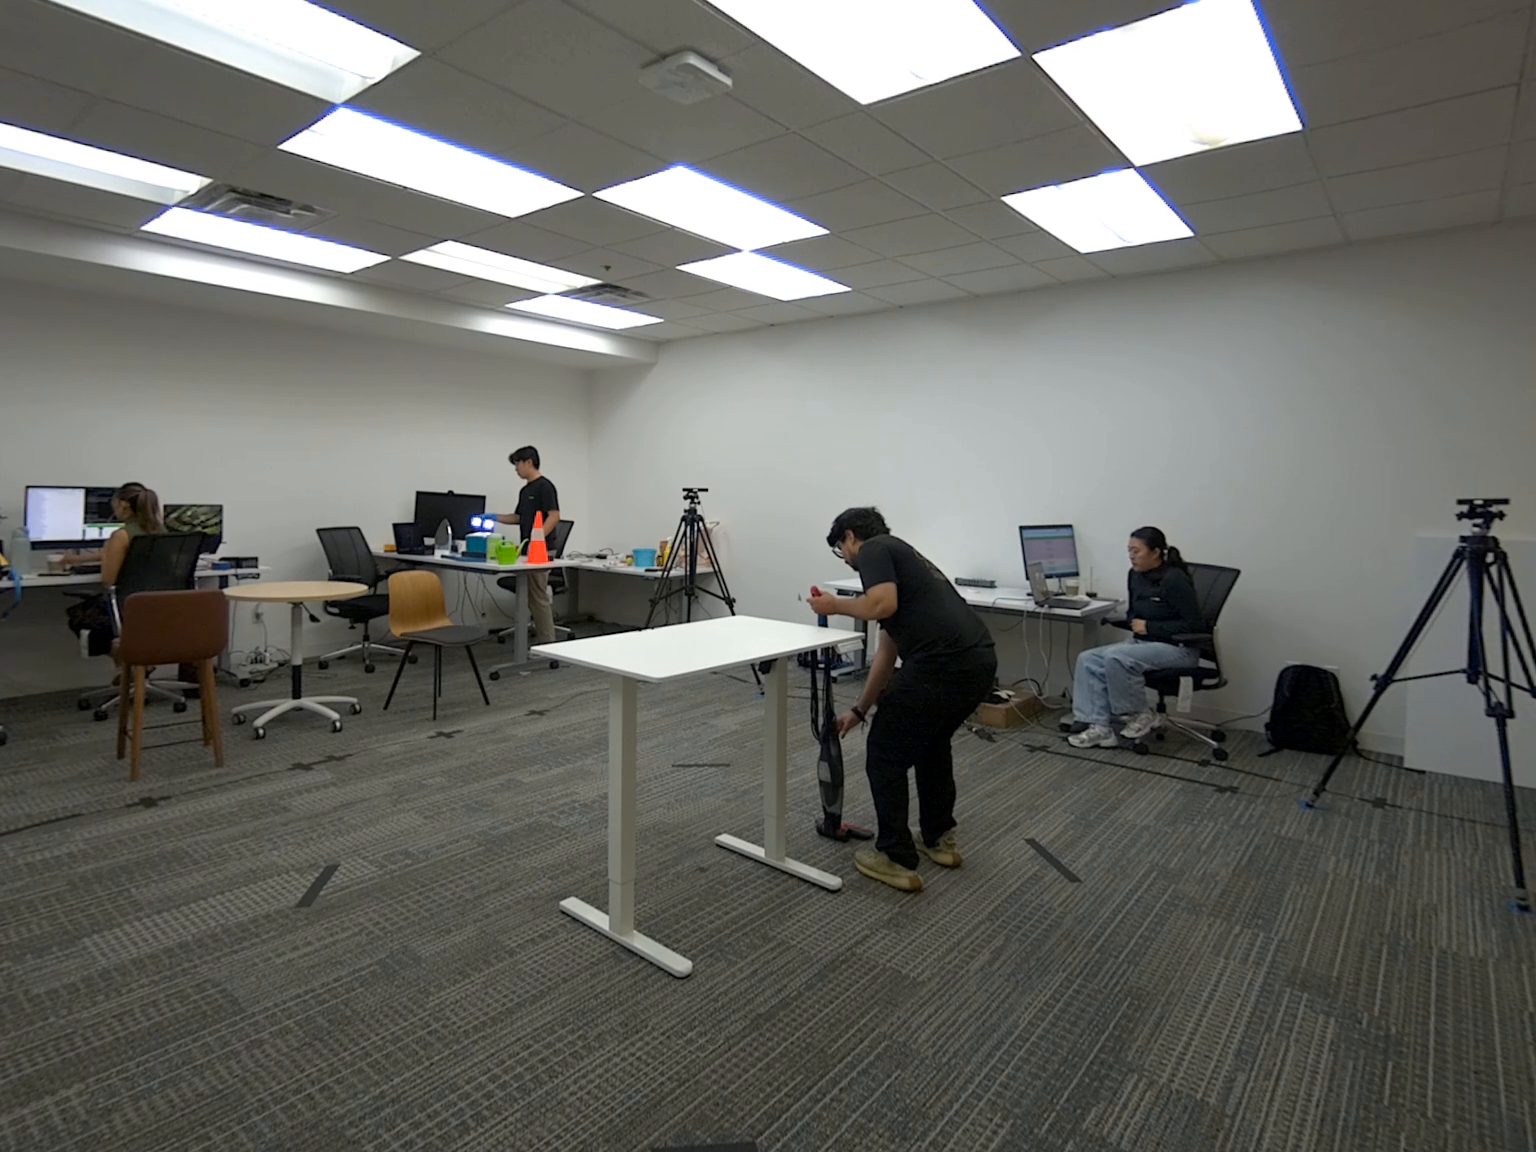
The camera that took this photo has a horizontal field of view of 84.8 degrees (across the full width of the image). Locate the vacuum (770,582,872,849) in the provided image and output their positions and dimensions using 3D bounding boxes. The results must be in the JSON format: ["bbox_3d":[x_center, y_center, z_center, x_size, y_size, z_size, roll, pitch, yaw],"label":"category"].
[{"bbox_3d":[0.215,0.550,3.331,0.260,1.033,0.142,3,18,34],"label":"vacuum"}]
